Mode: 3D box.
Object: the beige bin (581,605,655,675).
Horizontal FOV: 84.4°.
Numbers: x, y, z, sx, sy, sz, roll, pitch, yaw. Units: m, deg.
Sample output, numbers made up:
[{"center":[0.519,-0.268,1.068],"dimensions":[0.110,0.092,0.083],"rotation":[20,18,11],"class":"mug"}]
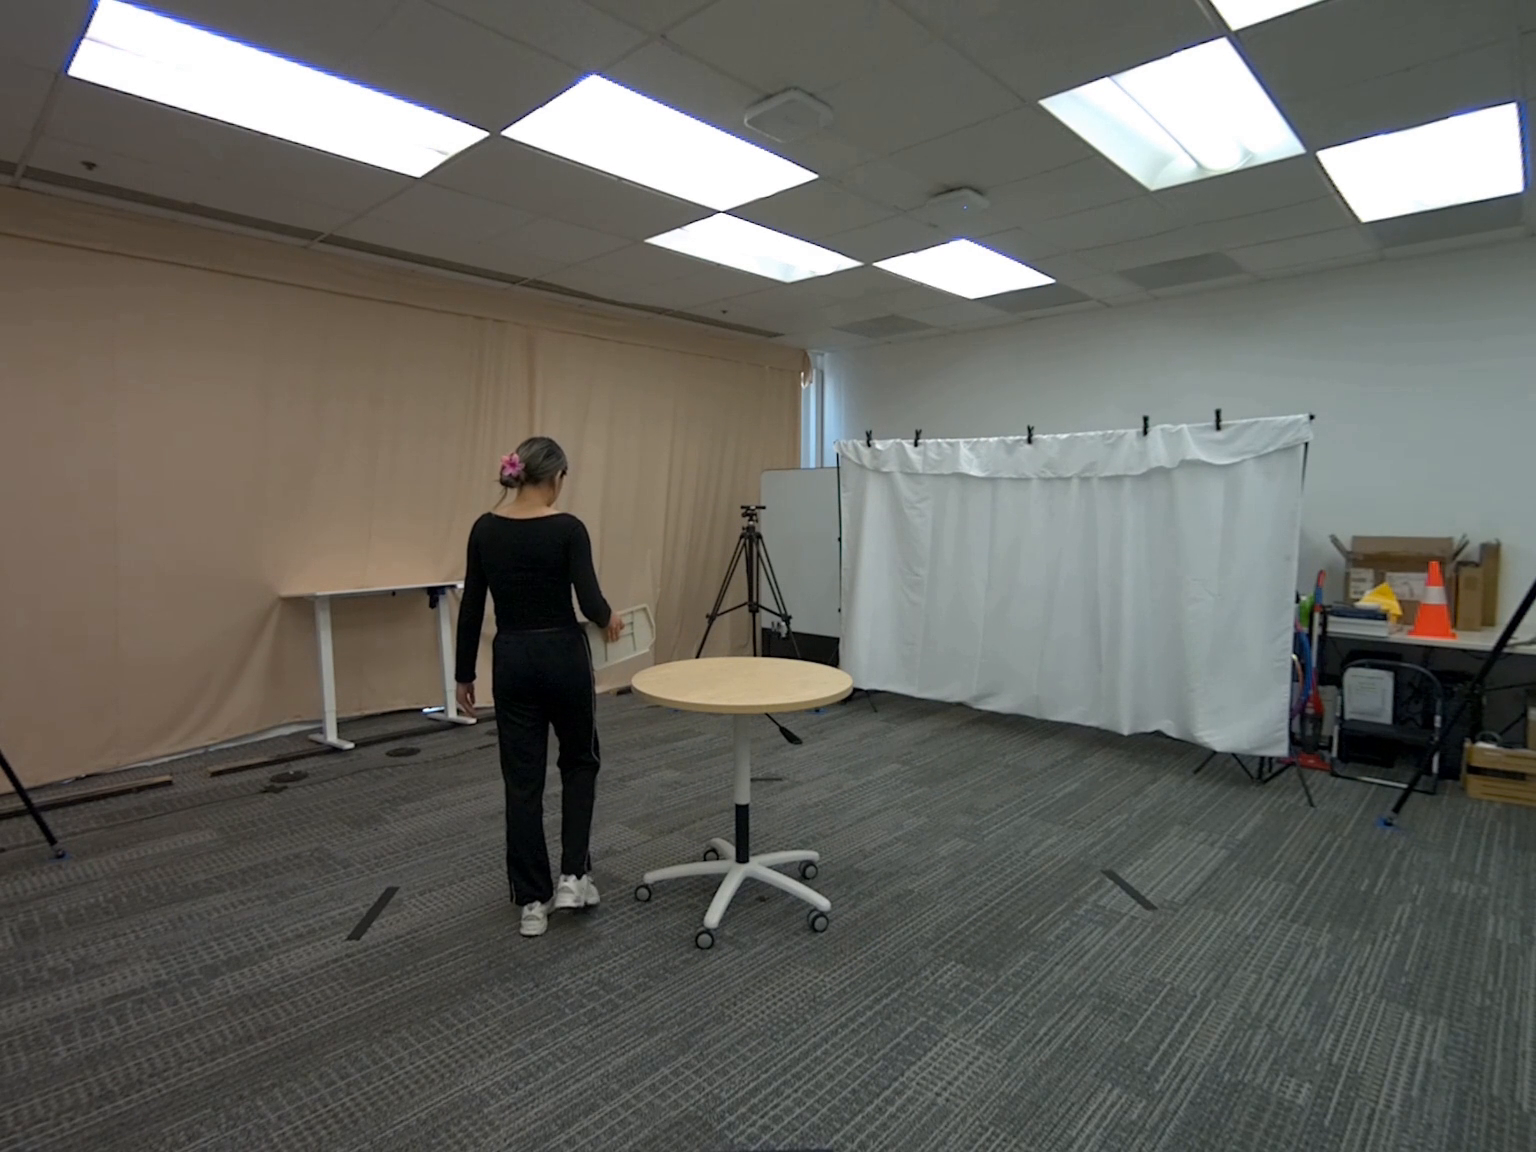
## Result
[{"center":[-0.699,0.224,3.158],"dimensions":[0.434,0.188,0.369],"rotation":[-3,8,30],"class":"beige bin"}]
